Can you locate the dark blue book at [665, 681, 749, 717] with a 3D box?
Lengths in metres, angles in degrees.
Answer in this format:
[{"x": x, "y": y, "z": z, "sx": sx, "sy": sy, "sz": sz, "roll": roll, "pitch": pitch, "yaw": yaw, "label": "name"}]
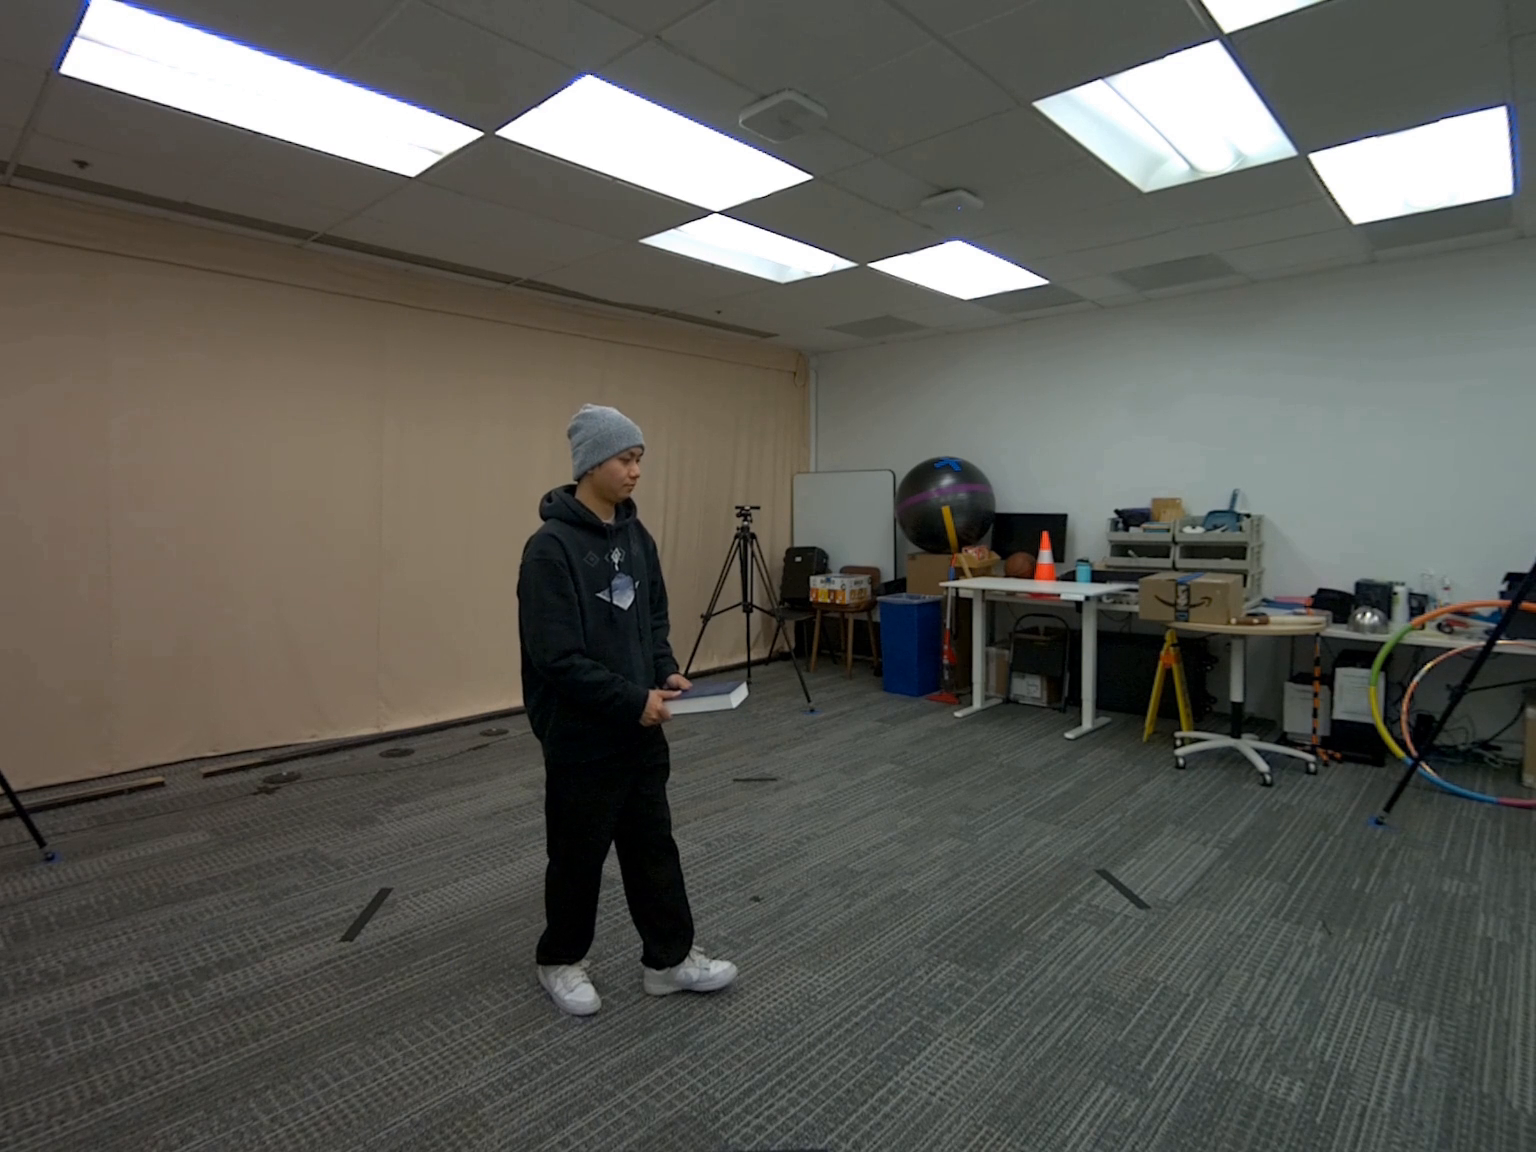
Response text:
[{"x": -0.194, "y": 0.326, "z": 2.206, "sx": 0.249, "sy": 0.045, "sz": 0.161, "roll": -7, "pitch": 1, "yaw": 14, "label": "dark blue book"}]
